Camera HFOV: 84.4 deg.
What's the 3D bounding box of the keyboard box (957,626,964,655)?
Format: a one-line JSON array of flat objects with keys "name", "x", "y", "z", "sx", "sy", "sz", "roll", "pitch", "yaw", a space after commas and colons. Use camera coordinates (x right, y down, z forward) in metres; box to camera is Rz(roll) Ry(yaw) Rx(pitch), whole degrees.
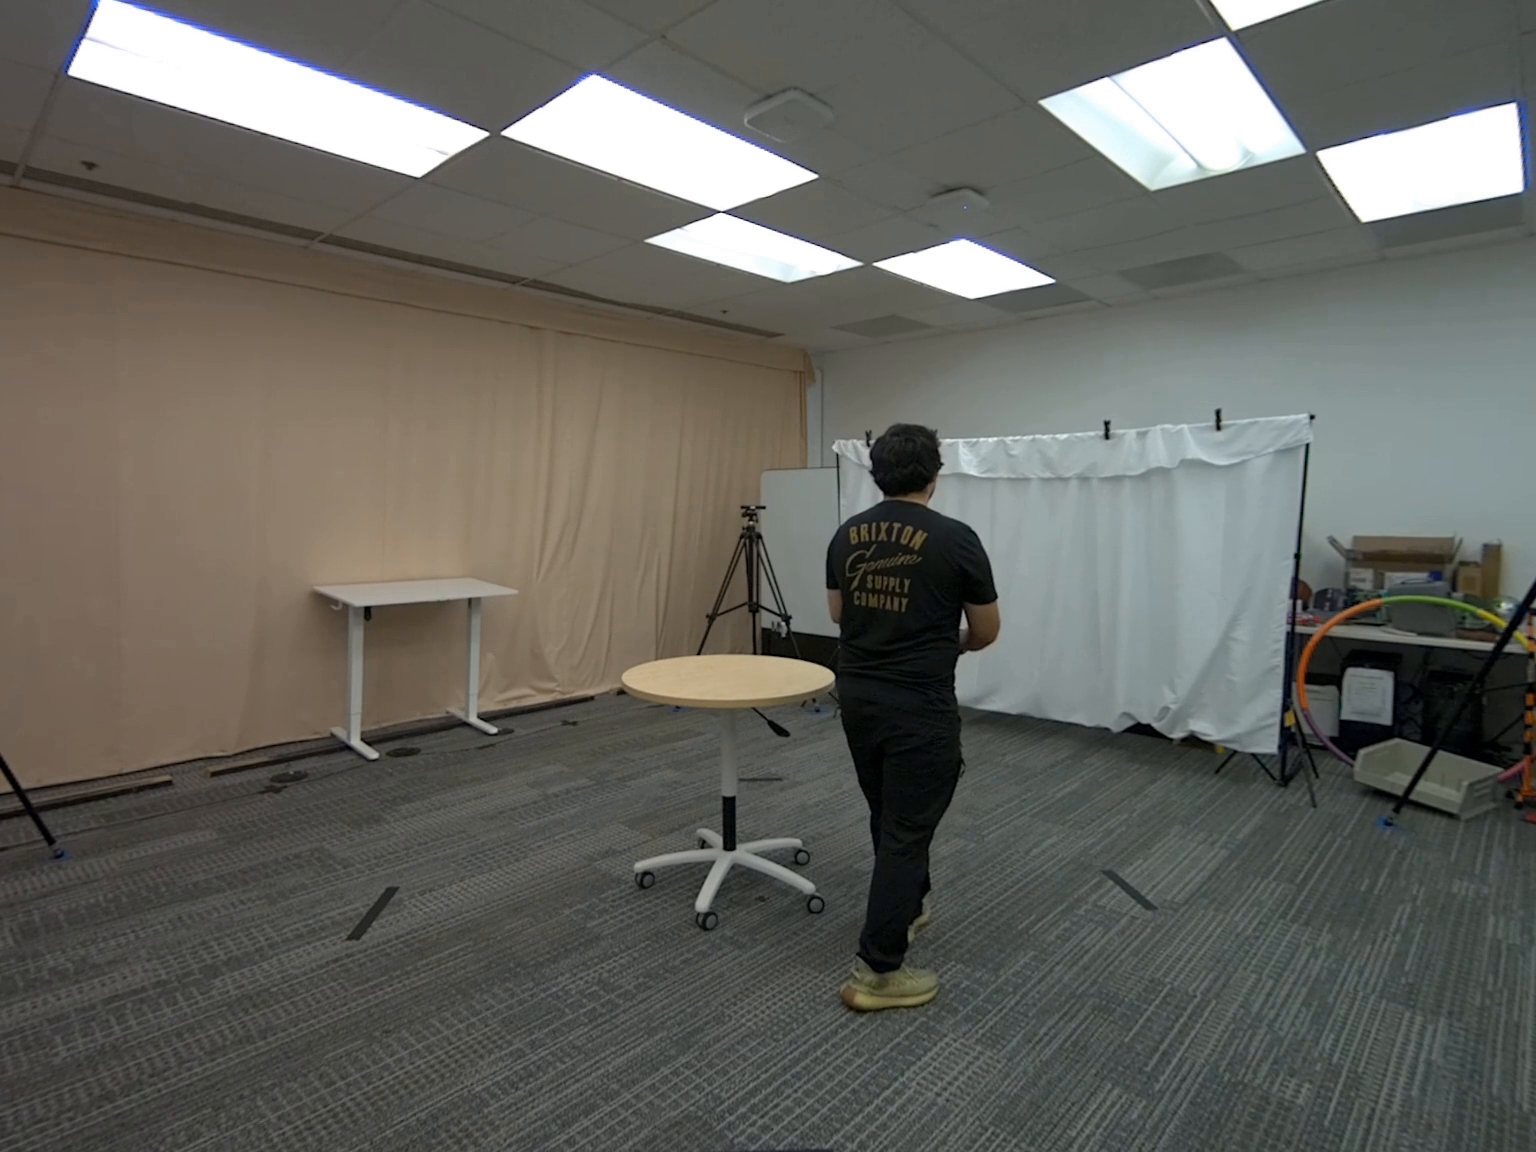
[{"name": "keyboard box", "x": 0.581, "y": 0.212, "z": 2.816, "sx": 0.060, "sy": 0.175, "sz": 0.430, "roll": 0, "pitch": 5, "yaw": 16}]
